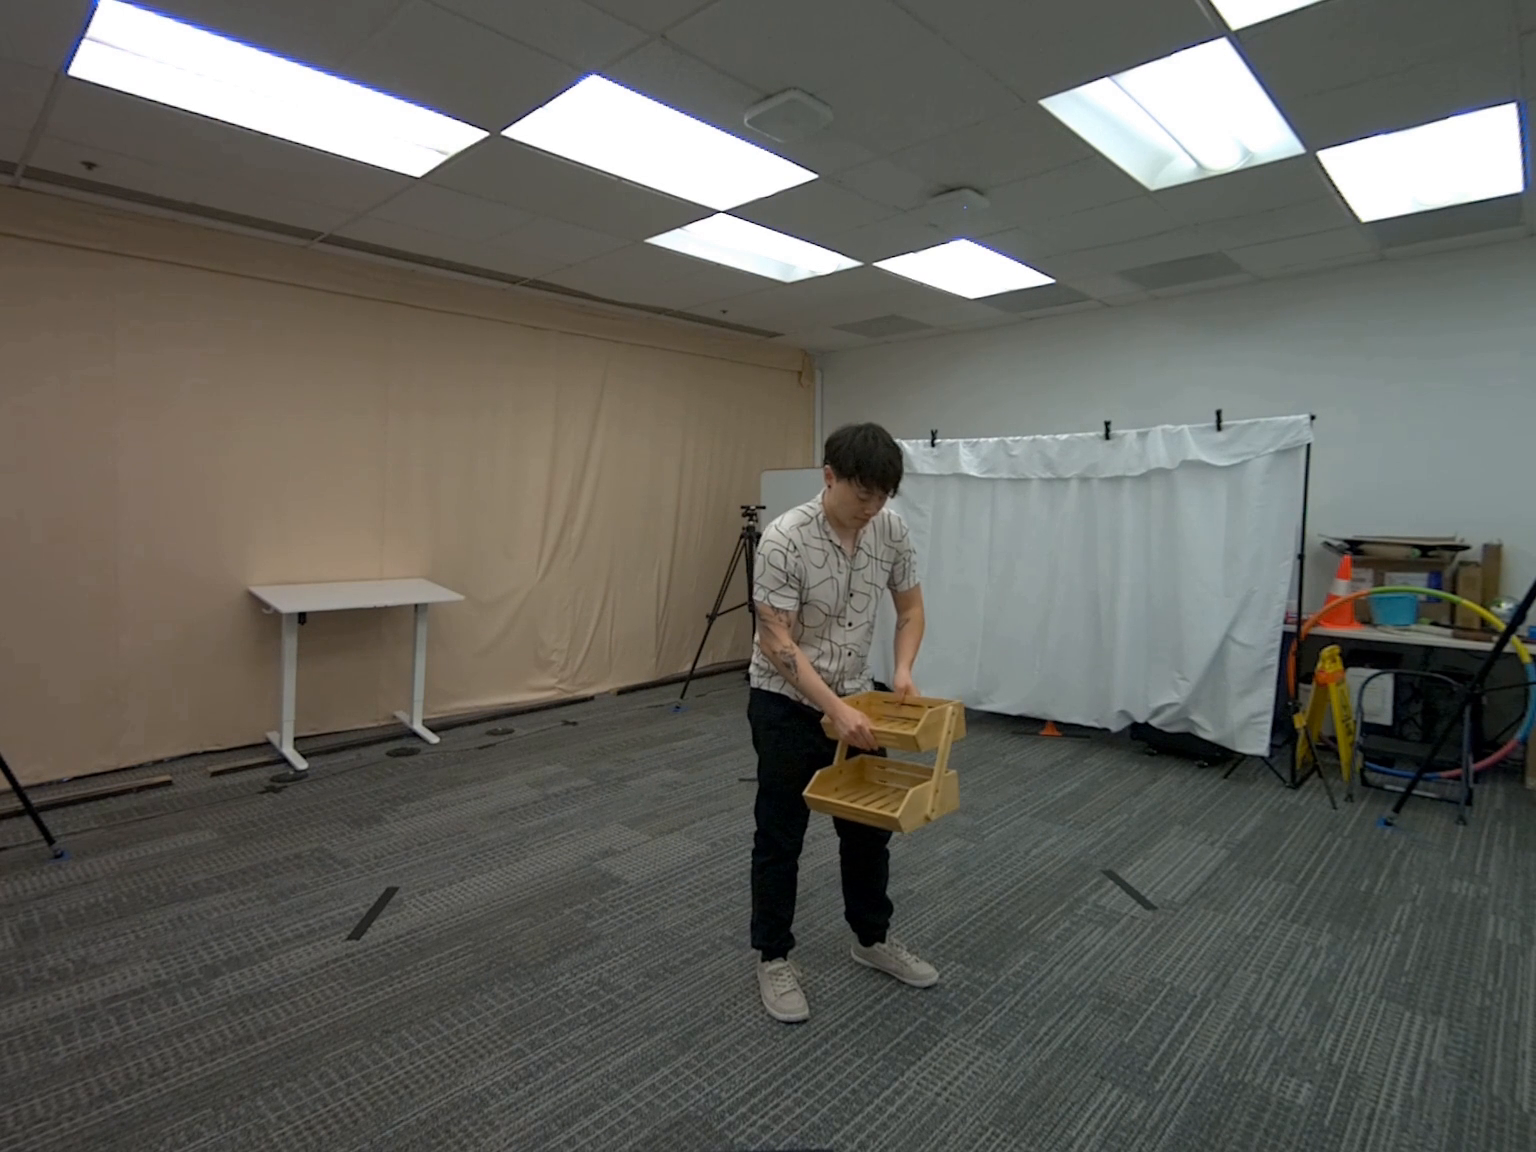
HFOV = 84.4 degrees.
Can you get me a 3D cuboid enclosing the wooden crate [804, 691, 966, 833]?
[{"bbox_3d":[0.294,0.460,2.146,0.293,0.273,0.334,-6,3,-44],"label":"wooden crate"}]
